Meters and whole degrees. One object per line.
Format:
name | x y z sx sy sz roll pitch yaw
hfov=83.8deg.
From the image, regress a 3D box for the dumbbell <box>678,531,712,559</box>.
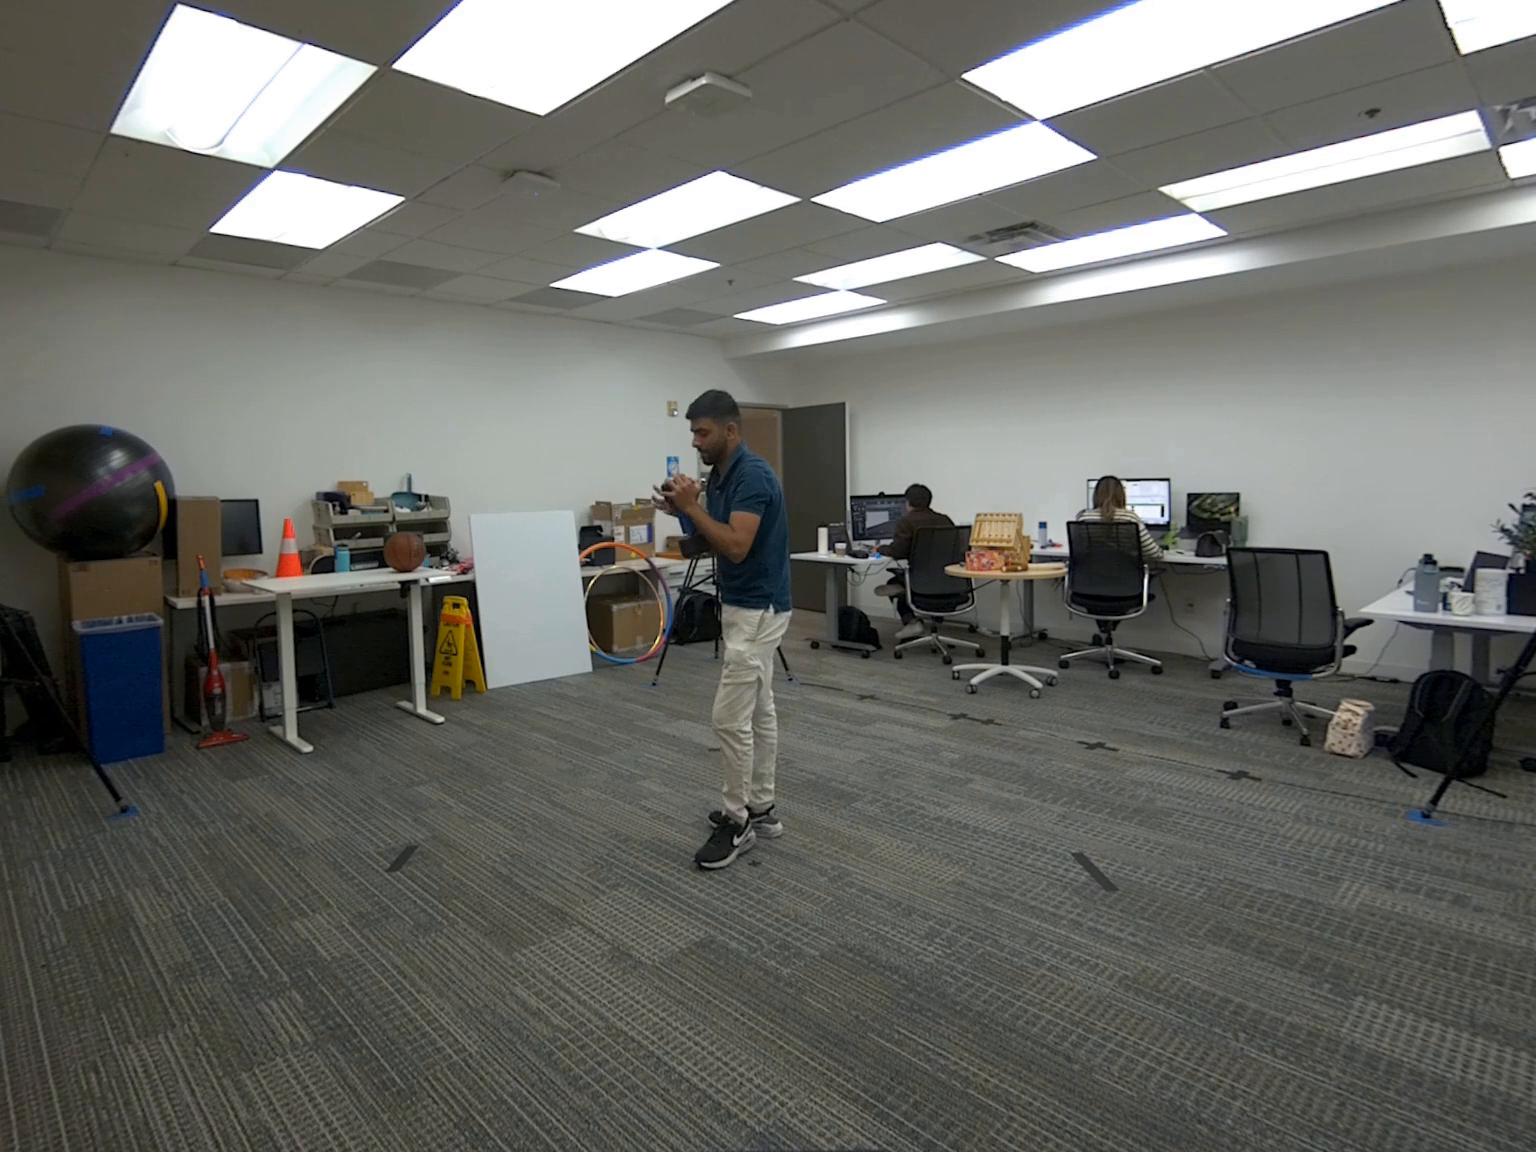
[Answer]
dumbbell | -0.297 -0.214 3.181 0.122 0.293 0.110 -14 2 -13
